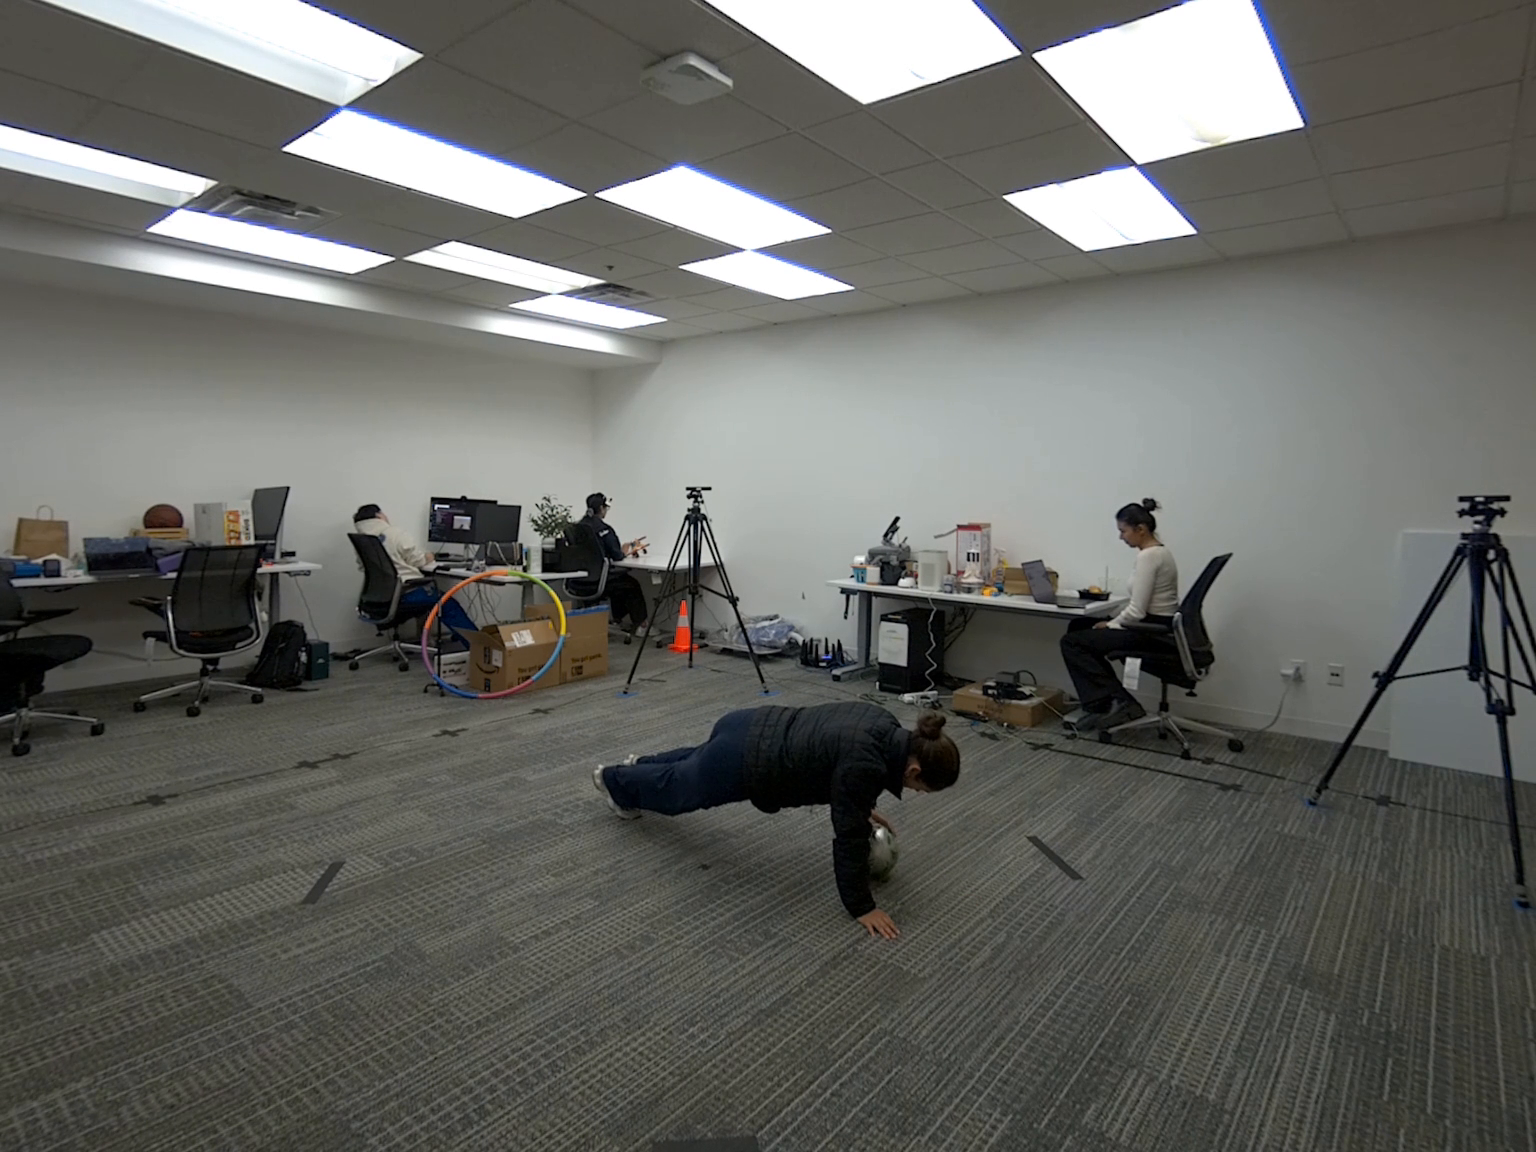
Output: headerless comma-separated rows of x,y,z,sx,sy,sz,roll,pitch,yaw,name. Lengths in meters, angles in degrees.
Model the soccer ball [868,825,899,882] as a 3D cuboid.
0.371,0.990,3.071,0.187,0.187,0.188,1,4,-2,soccer ball
